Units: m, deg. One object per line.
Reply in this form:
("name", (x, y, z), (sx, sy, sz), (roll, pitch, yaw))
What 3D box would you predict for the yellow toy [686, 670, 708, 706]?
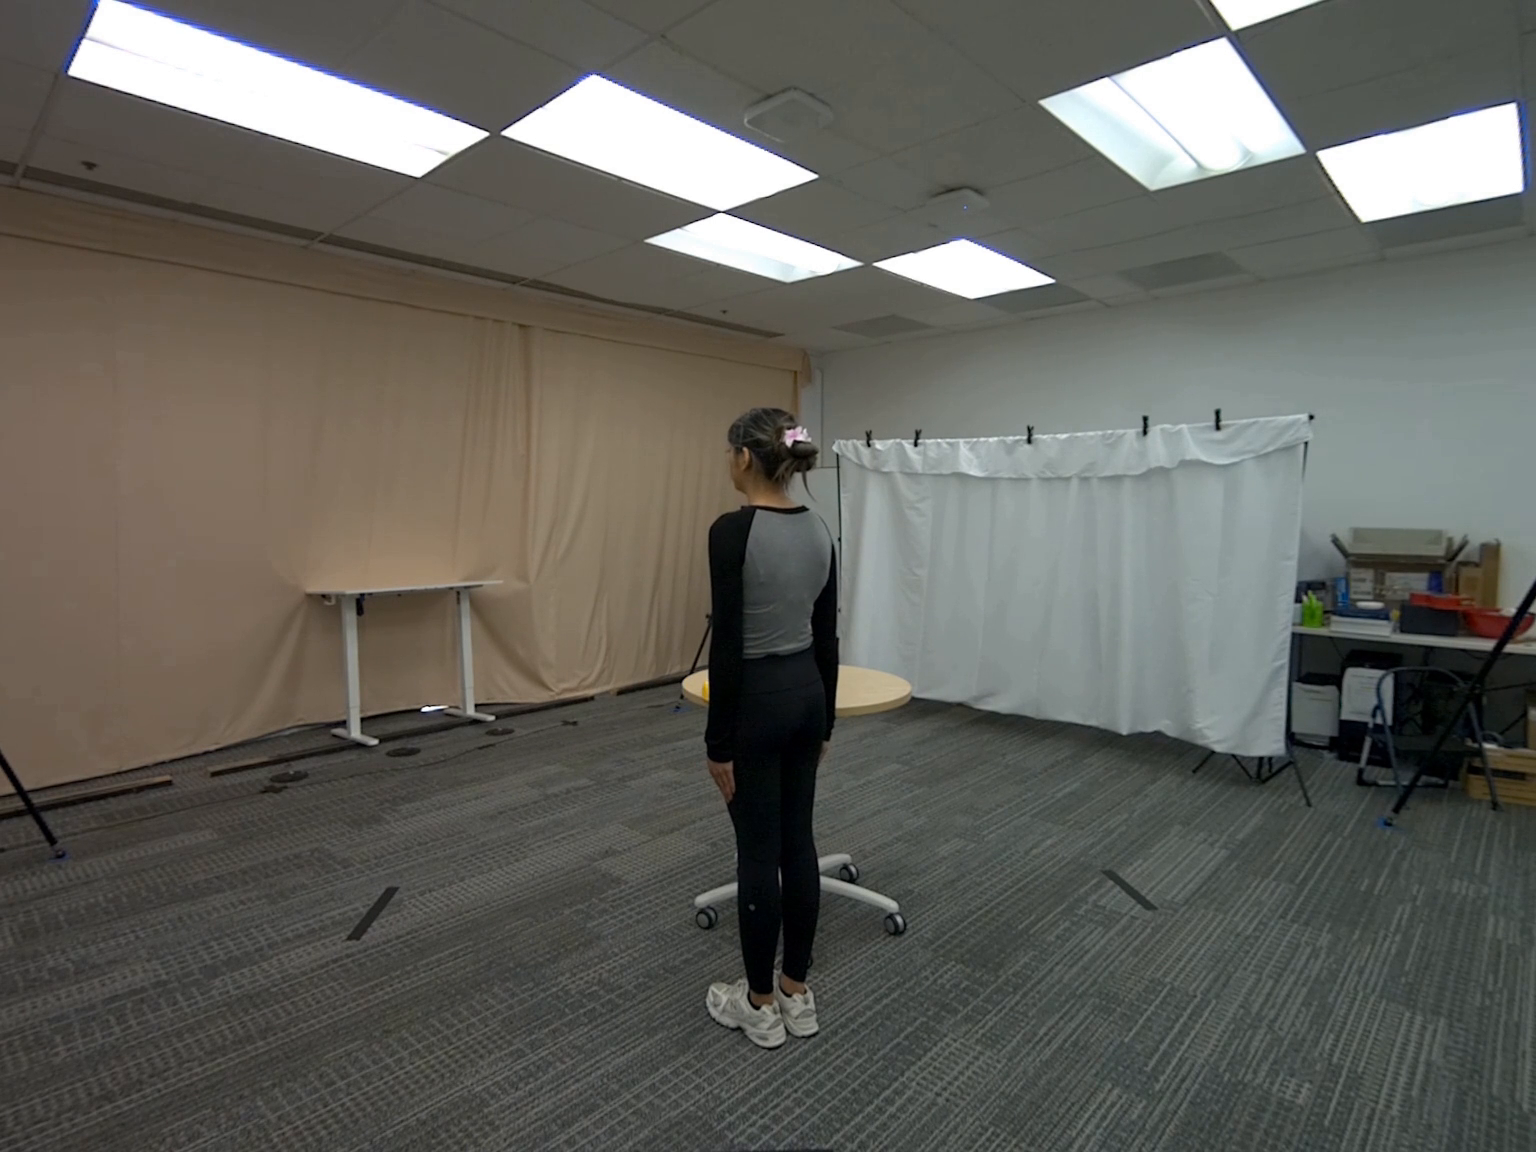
("yellow toy", (-0.097, 0.263, 2.619), (0.200, 0.230, 0.198), (-1, 2, -26))
